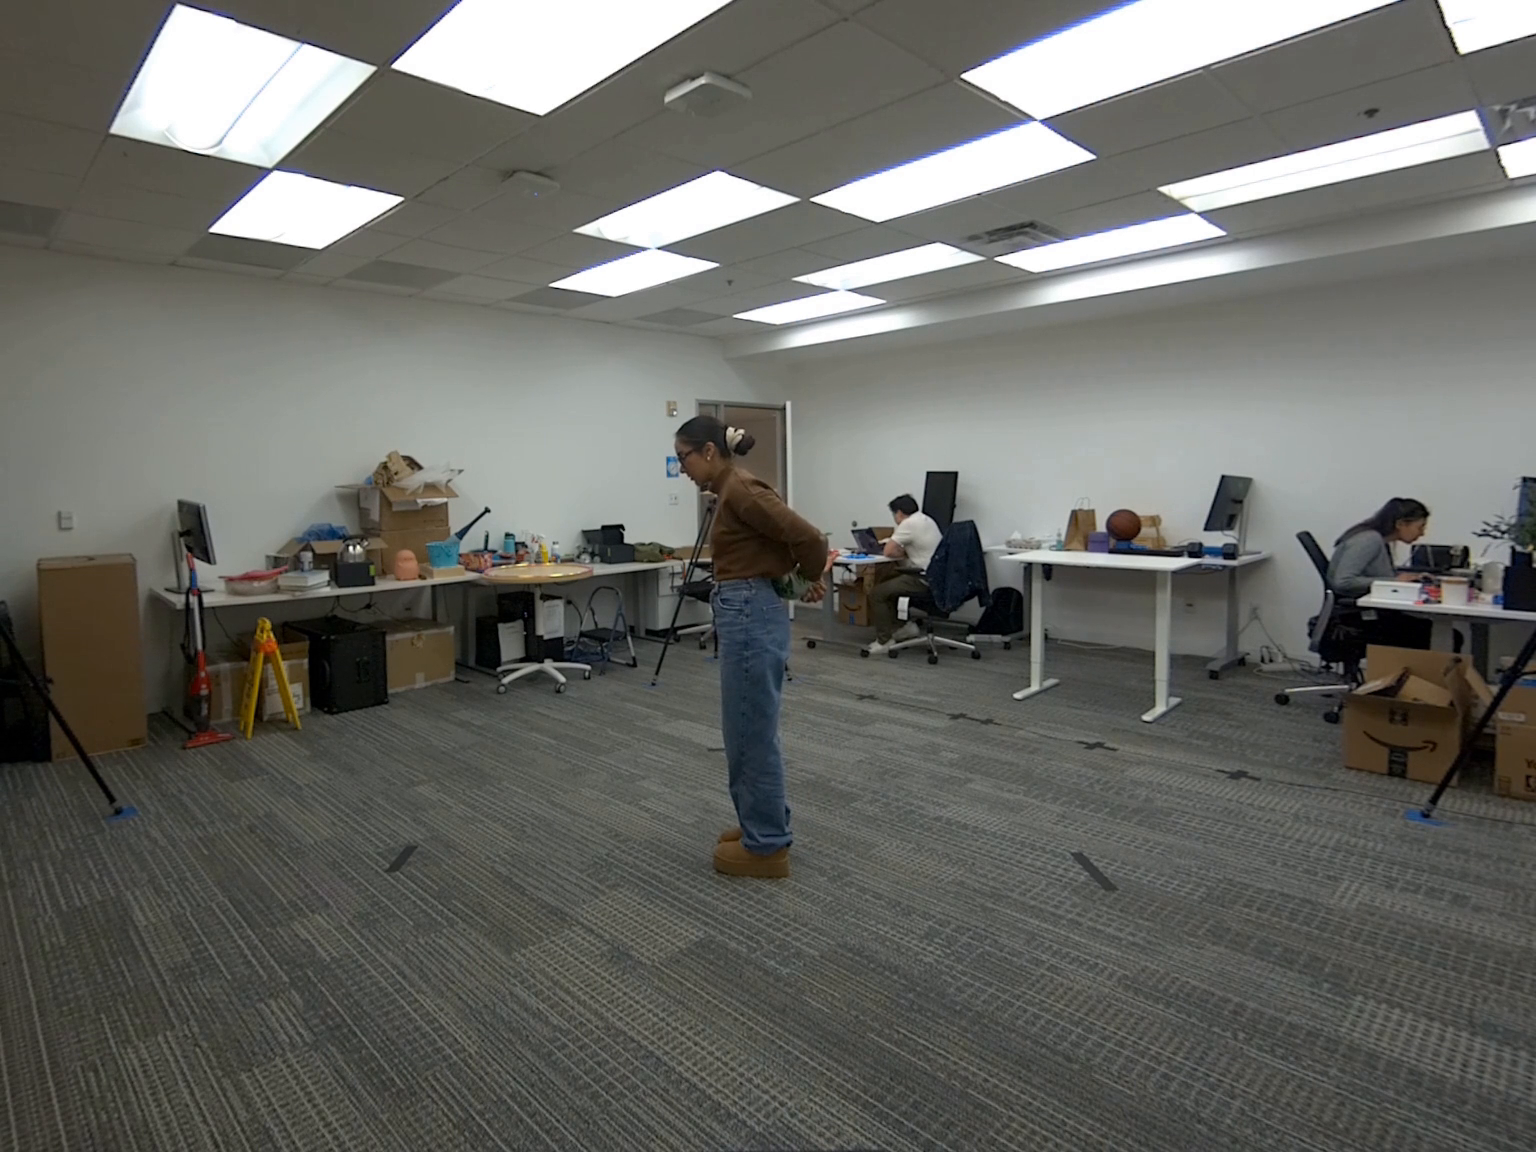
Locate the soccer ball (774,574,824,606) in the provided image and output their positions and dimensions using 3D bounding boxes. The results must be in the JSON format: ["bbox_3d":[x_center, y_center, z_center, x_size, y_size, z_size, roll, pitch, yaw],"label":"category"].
[{"bbox_3d":[0.094,-0.002,3.137,0.187,0.187,0.188,-1,5,-2],"label":"soccer ball"}]
